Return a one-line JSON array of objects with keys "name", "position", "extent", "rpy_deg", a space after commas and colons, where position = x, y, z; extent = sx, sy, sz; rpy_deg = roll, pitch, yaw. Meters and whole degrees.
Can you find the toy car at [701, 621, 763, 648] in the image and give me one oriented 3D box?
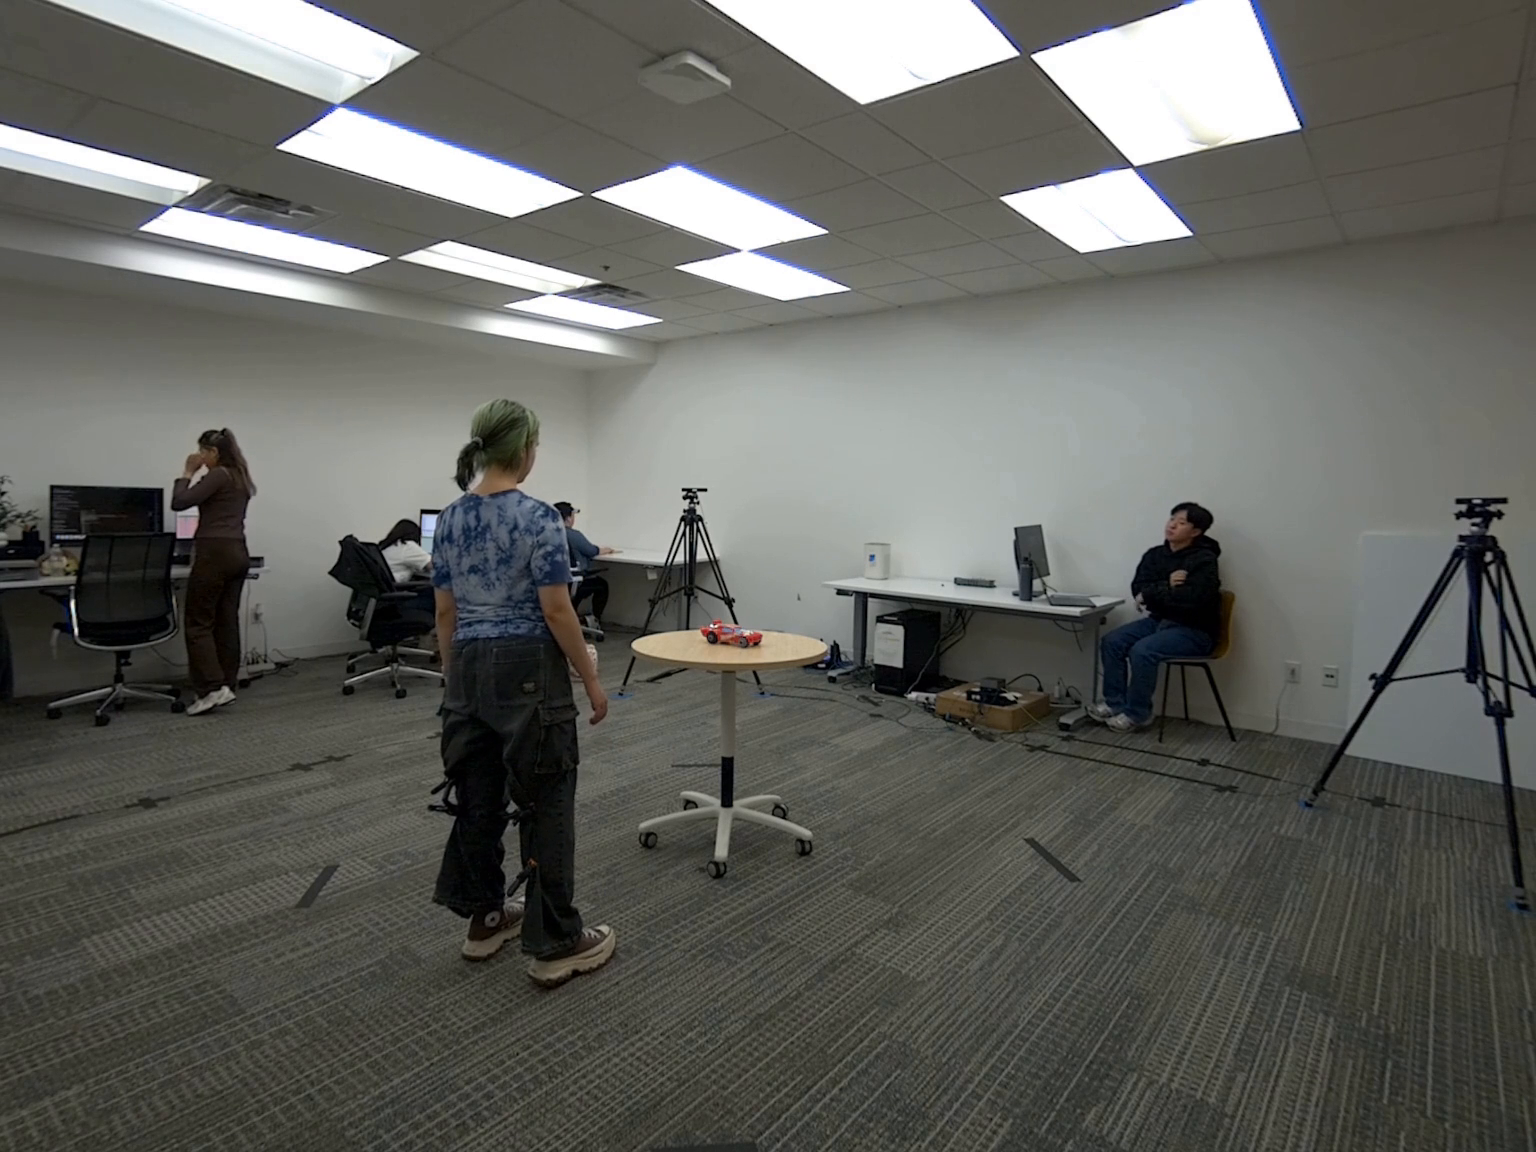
[{"name": "toy car", "position": [-0.161, 0.231, 3.362], "extent": [0.263, 0.082, 0.127], "rpy_deg": [16, 12, 32]}]
